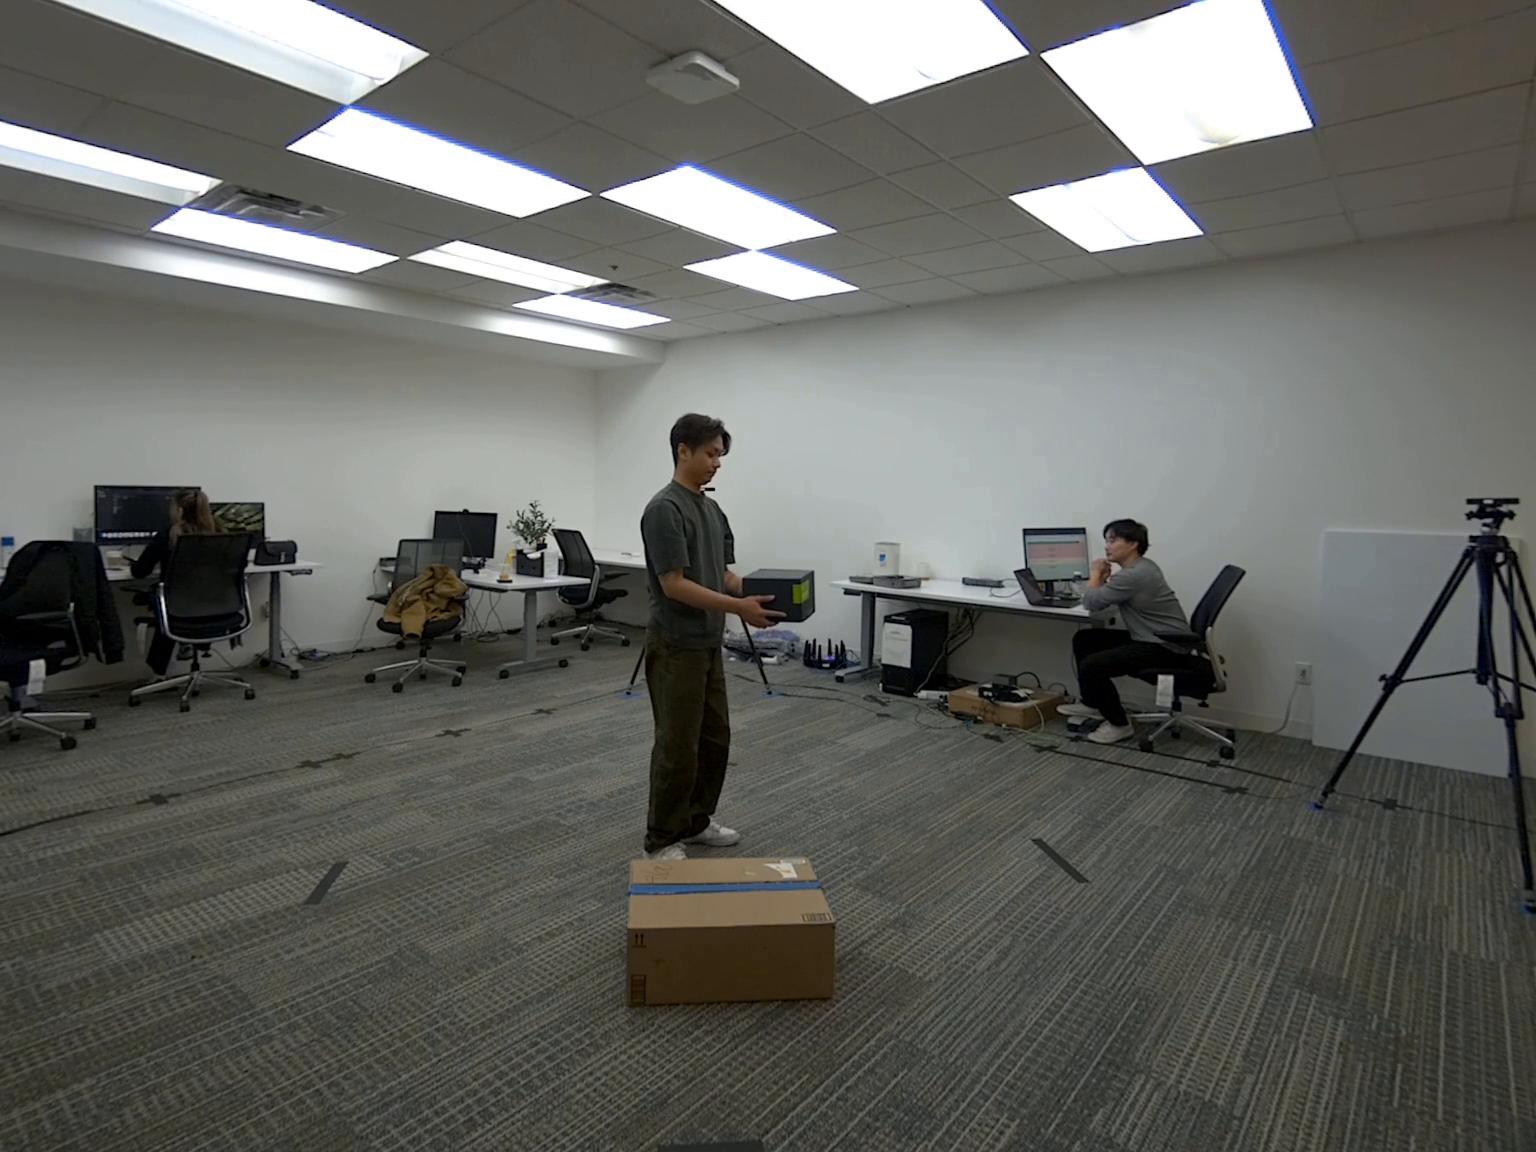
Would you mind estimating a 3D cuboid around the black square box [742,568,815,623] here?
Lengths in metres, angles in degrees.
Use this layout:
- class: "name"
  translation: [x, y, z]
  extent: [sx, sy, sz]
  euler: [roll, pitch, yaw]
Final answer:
- class: "black square box"
  translation: [0.032, 0.068, 3.066]
  extent: [0.221, 0.155, 0.225]
  euler: [1, 6, 17]
